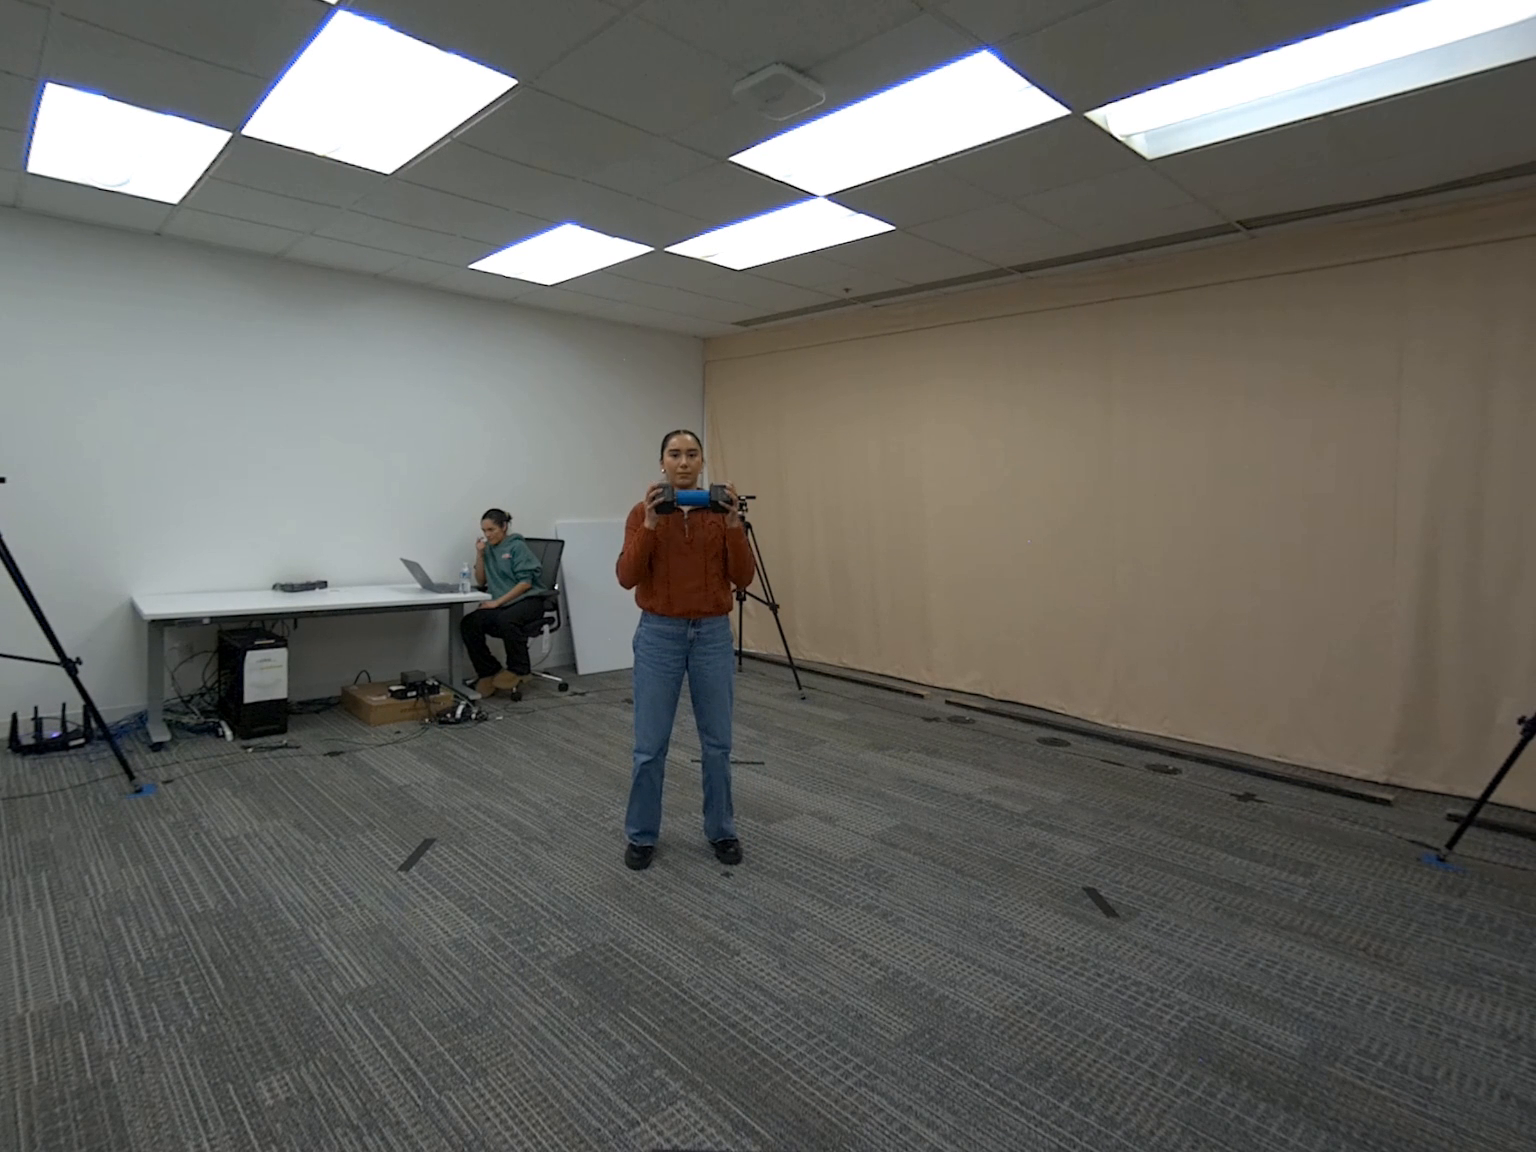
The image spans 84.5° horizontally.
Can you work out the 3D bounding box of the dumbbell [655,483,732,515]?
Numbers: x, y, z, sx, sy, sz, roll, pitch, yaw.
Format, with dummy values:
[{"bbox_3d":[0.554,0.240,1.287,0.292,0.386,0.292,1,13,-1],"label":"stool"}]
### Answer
[{"bbox_3d":[-0.295,-0.305,3.099,0.292,0.125,0.107,-3,-20,-7],"label":"dumbbell"}]
